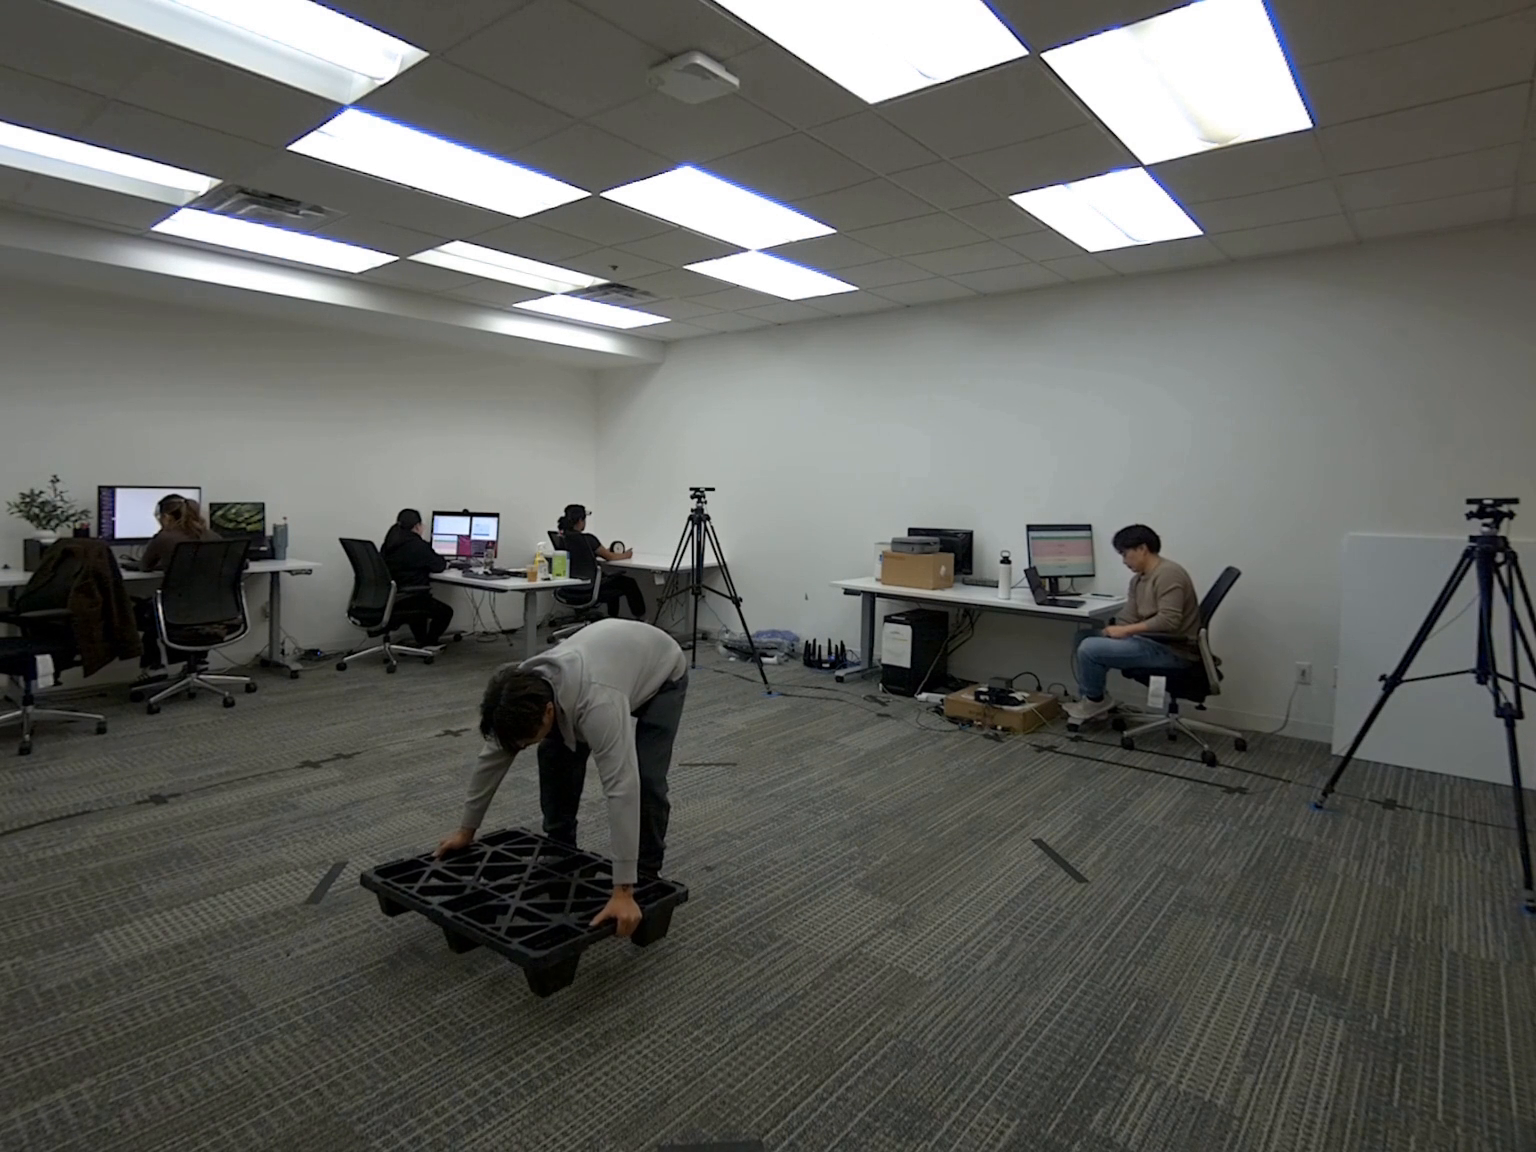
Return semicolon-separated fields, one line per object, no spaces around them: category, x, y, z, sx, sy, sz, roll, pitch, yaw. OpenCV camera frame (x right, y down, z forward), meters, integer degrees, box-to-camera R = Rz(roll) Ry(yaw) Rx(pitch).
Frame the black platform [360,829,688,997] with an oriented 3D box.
black platform;-0.736;0.968;2.524;0.831;0.143;0.586;4;2;36
